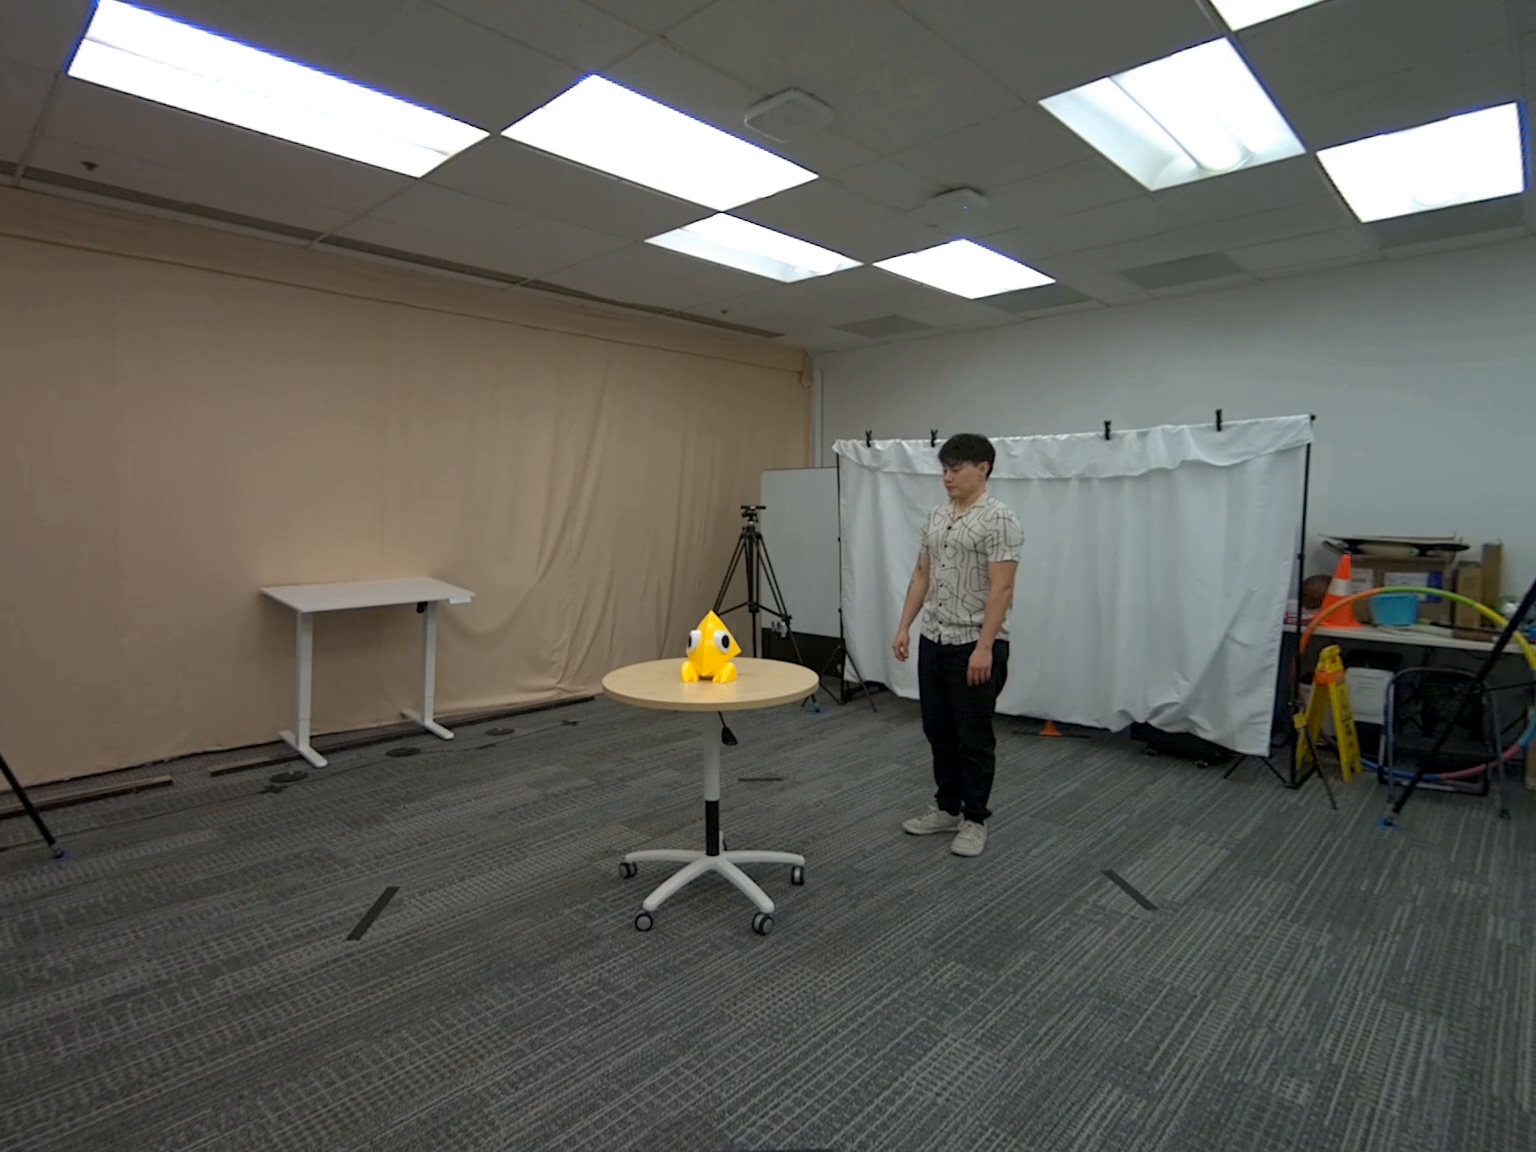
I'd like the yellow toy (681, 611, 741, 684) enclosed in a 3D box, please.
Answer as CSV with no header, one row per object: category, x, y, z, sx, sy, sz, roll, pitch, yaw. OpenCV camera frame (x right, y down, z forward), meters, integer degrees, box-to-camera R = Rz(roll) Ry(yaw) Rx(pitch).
yellow toy,-0.210,0.248,2.985,0.207,0.230,0.191,0,3,10
